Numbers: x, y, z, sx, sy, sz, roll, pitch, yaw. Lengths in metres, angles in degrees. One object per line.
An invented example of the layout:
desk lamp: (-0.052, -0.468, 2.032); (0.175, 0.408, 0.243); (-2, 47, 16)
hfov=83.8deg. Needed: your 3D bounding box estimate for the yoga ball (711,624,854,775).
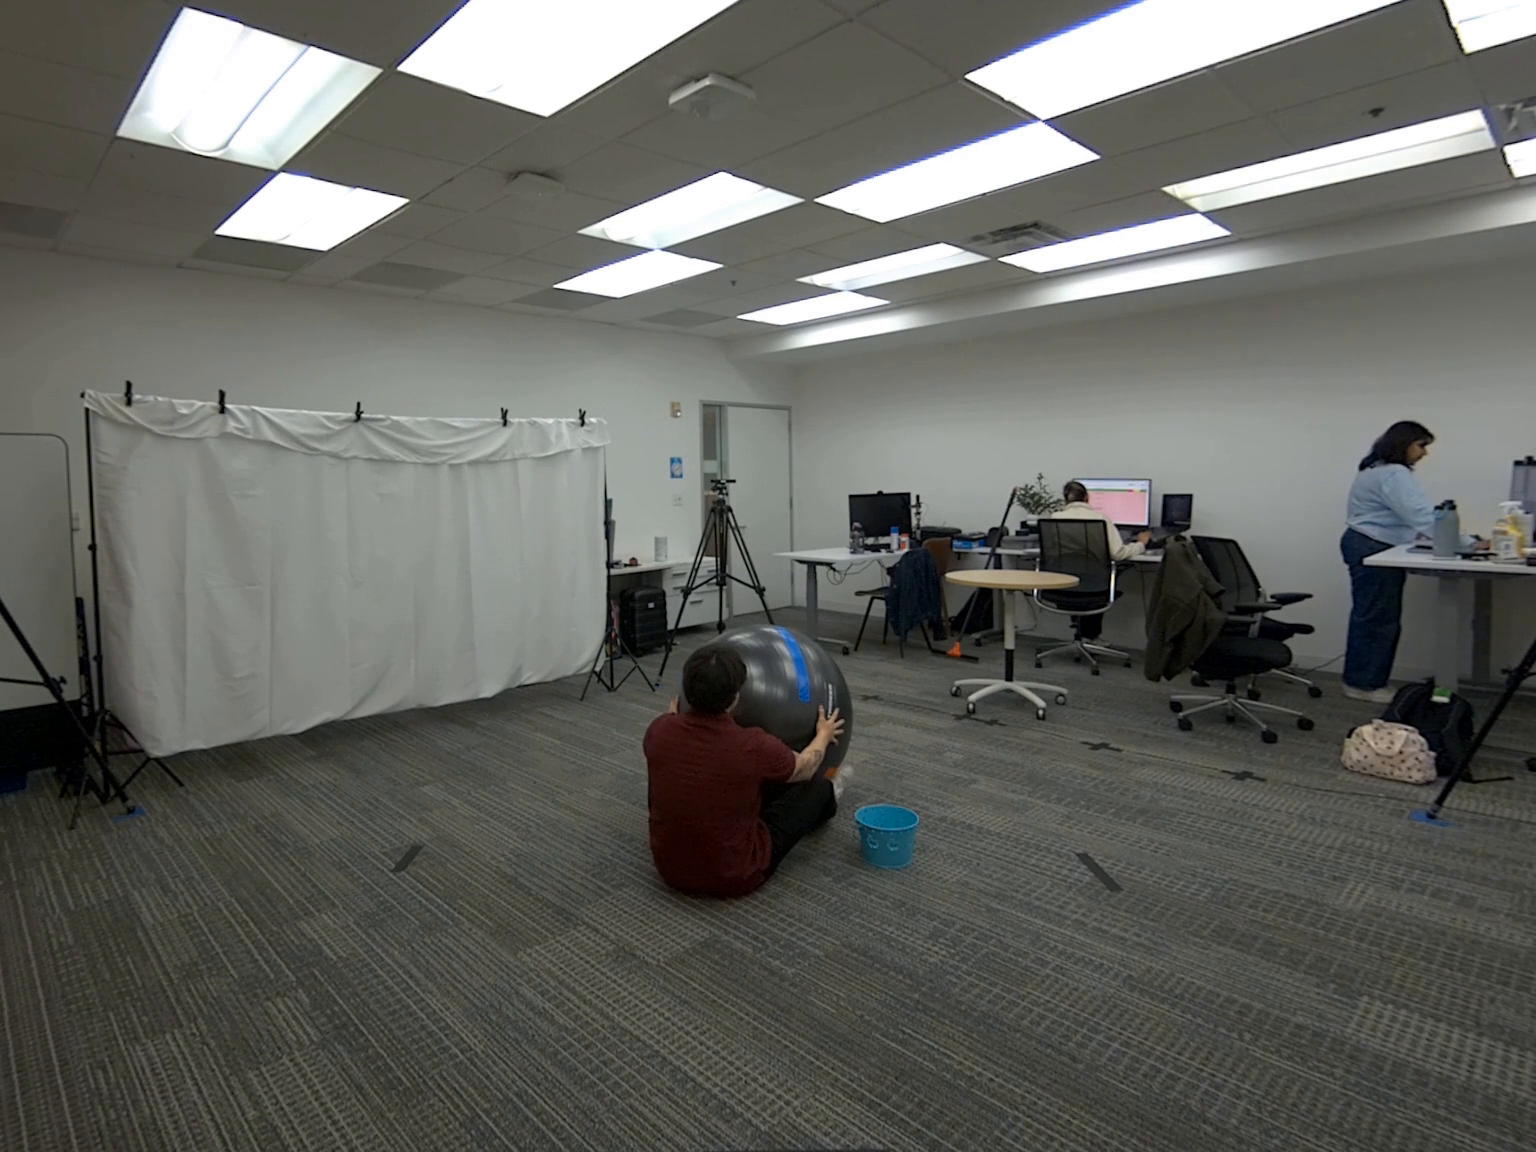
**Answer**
yoga ball: (-0.029, 0.588, 3.600); (0.757, 0.755, 0.762); (-1, 5, -2)
